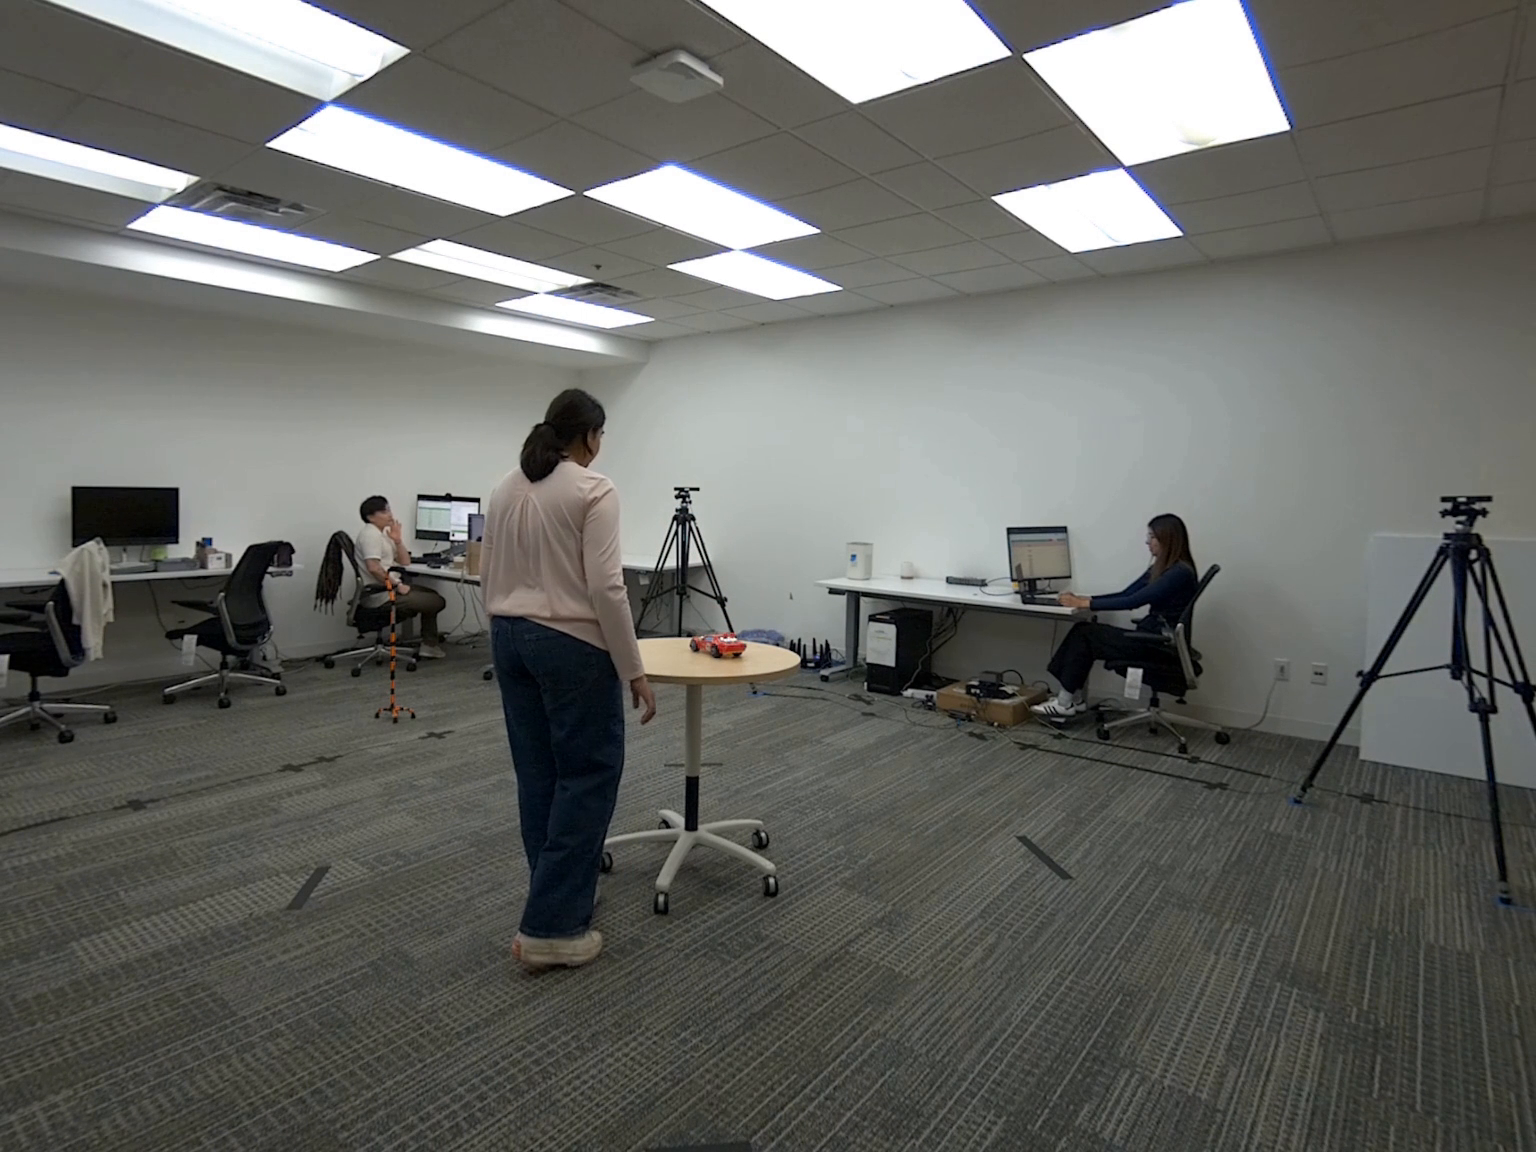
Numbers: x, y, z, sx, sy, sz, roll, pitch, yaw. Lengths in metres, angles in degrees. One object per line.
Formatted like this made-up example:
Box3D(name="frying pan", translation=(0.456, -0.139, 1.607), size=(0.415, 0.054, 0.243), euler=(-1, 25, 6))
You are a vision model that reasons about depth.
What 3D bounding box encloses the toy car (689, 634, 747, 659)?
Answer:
Box3D(name="toy car", translation=(-0.189, 0.251, 3.110), size=(0.126, 0.084, 0.260), euler=(-1, -6, -34))
